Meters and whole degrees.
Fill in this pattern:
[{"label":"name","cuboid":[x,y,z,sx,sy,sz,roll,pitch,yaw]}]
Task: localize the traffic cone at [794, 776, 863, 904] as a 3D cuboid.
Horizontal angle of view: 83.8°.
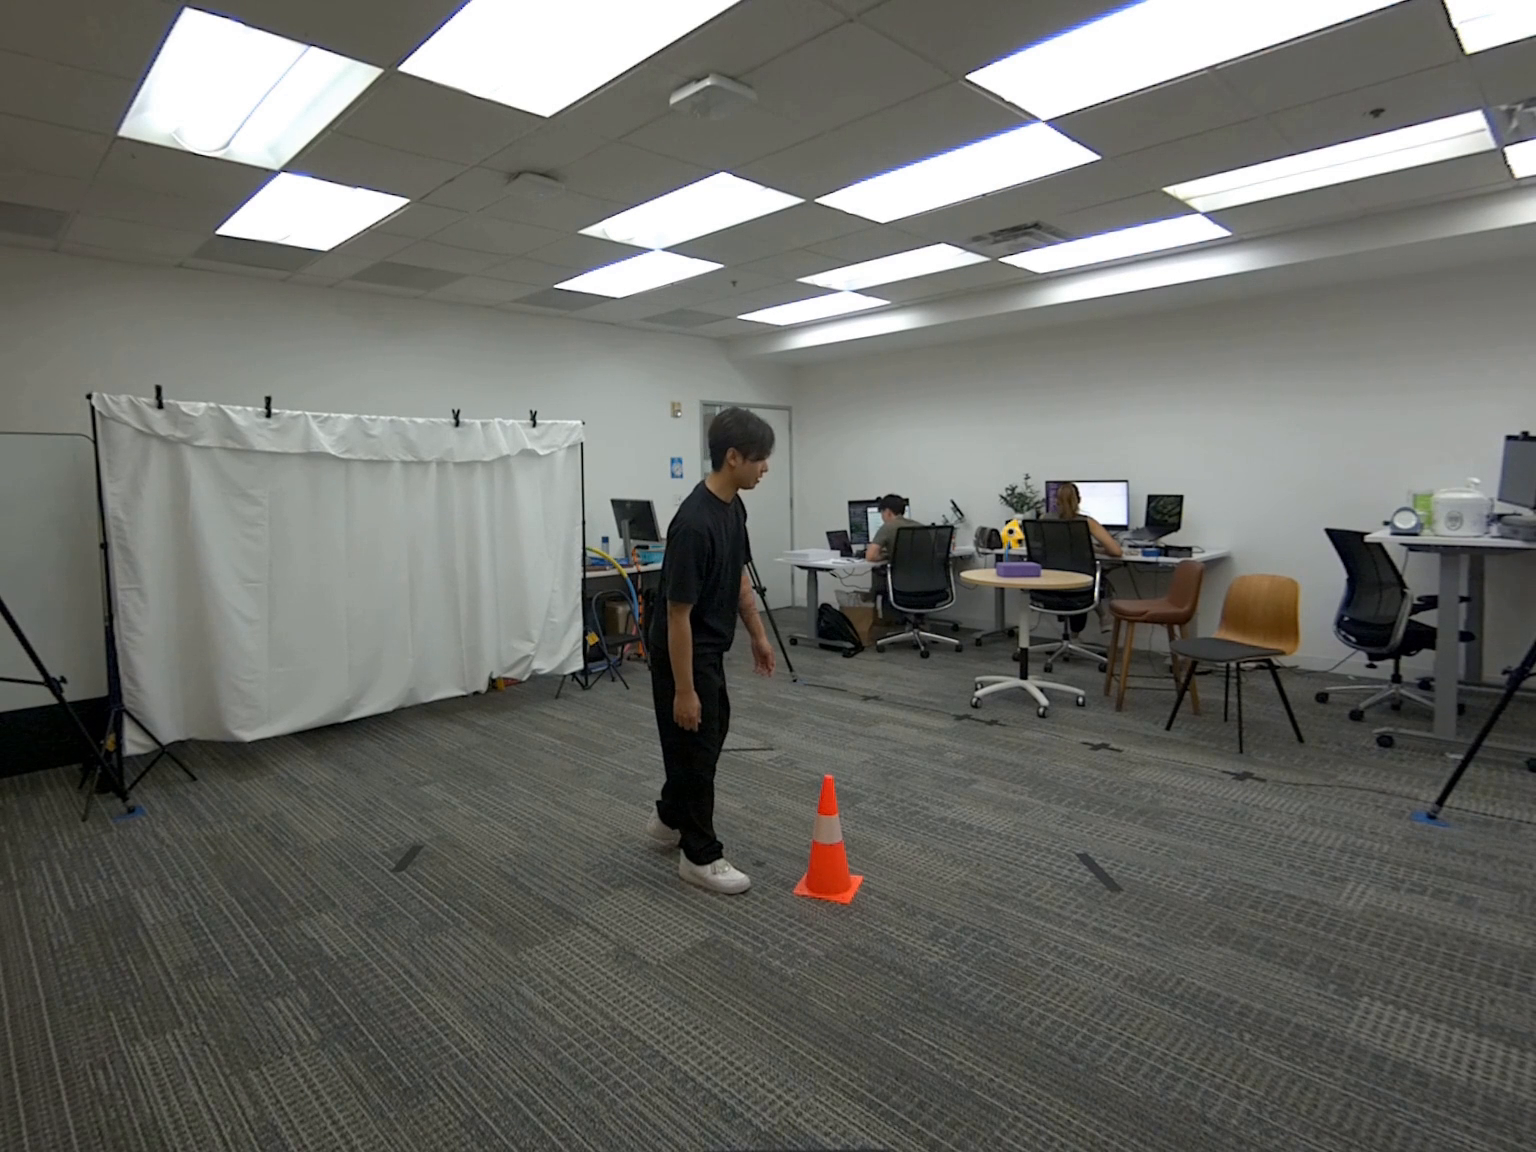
[{"label":"traffic cone","cuboid":[0.199,0.873,2.919,0.208,0.382,0.201,0,5,23]}]
